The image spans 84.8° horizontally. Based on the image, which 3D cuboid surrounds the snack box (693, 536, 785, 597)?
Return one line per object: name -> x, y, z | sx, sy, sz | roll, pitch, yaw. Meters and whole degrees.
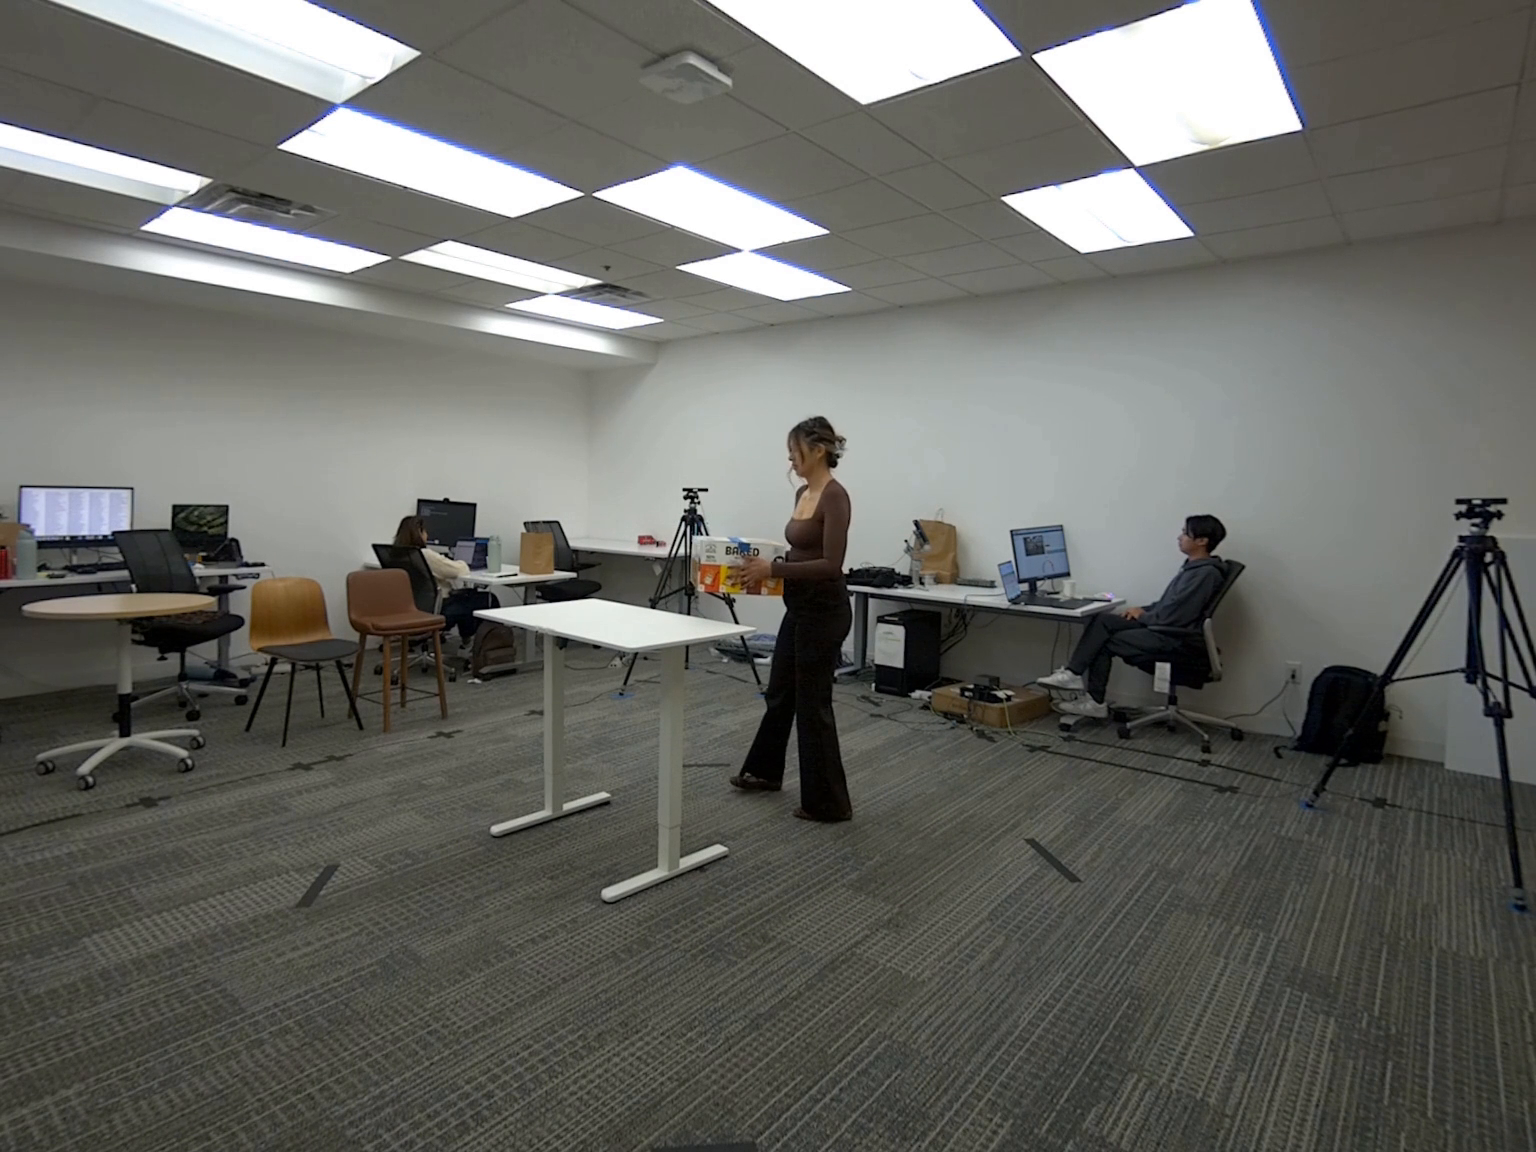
snack box -> -0.156, -0.052, 3.568 | 0.337, 0.205, 0.411 | 3, 4, -10
